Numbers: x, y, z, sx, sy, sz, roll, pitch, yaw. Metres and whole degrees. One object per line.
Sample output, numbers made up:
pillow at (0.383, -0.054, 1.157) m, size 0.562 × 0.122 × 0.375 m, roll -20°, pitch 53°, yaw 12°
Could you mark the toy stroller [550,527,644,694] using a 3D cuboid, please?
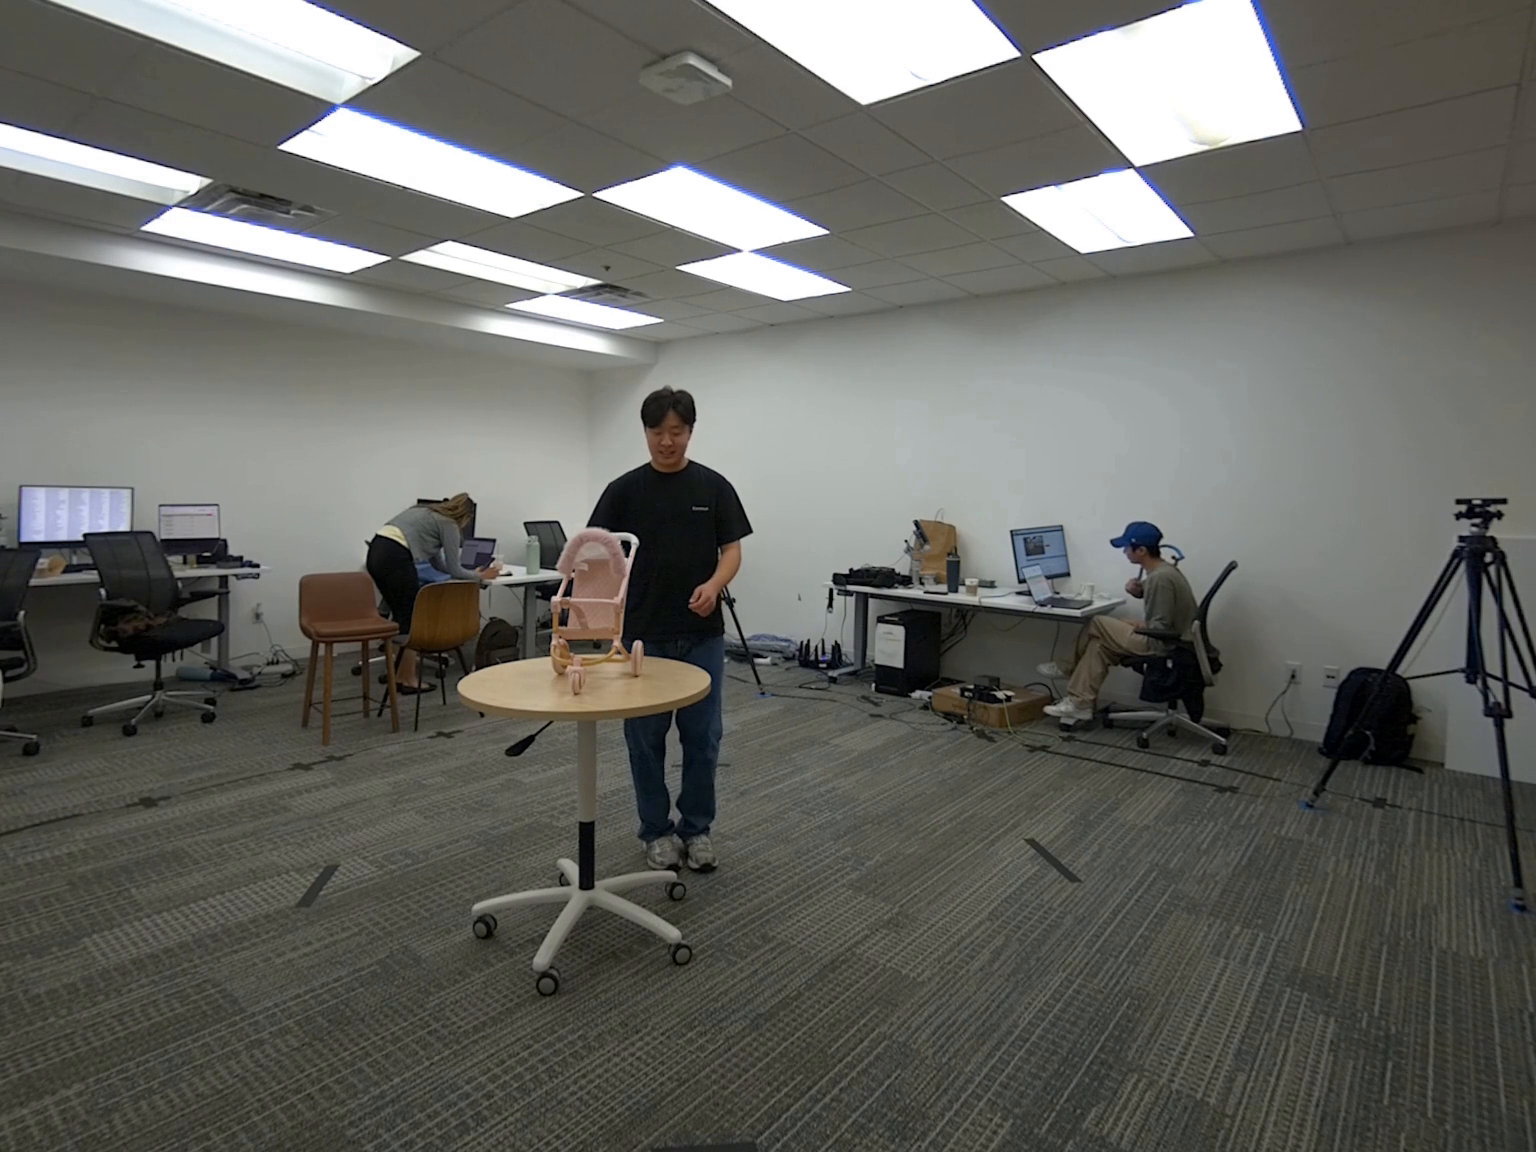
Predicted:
toy stroller at (-0.551, 0.093, 2.607) m, size 0.284 × 0.541 × 0.334 m, roll 0°, pitch -11°, yaw 8°
